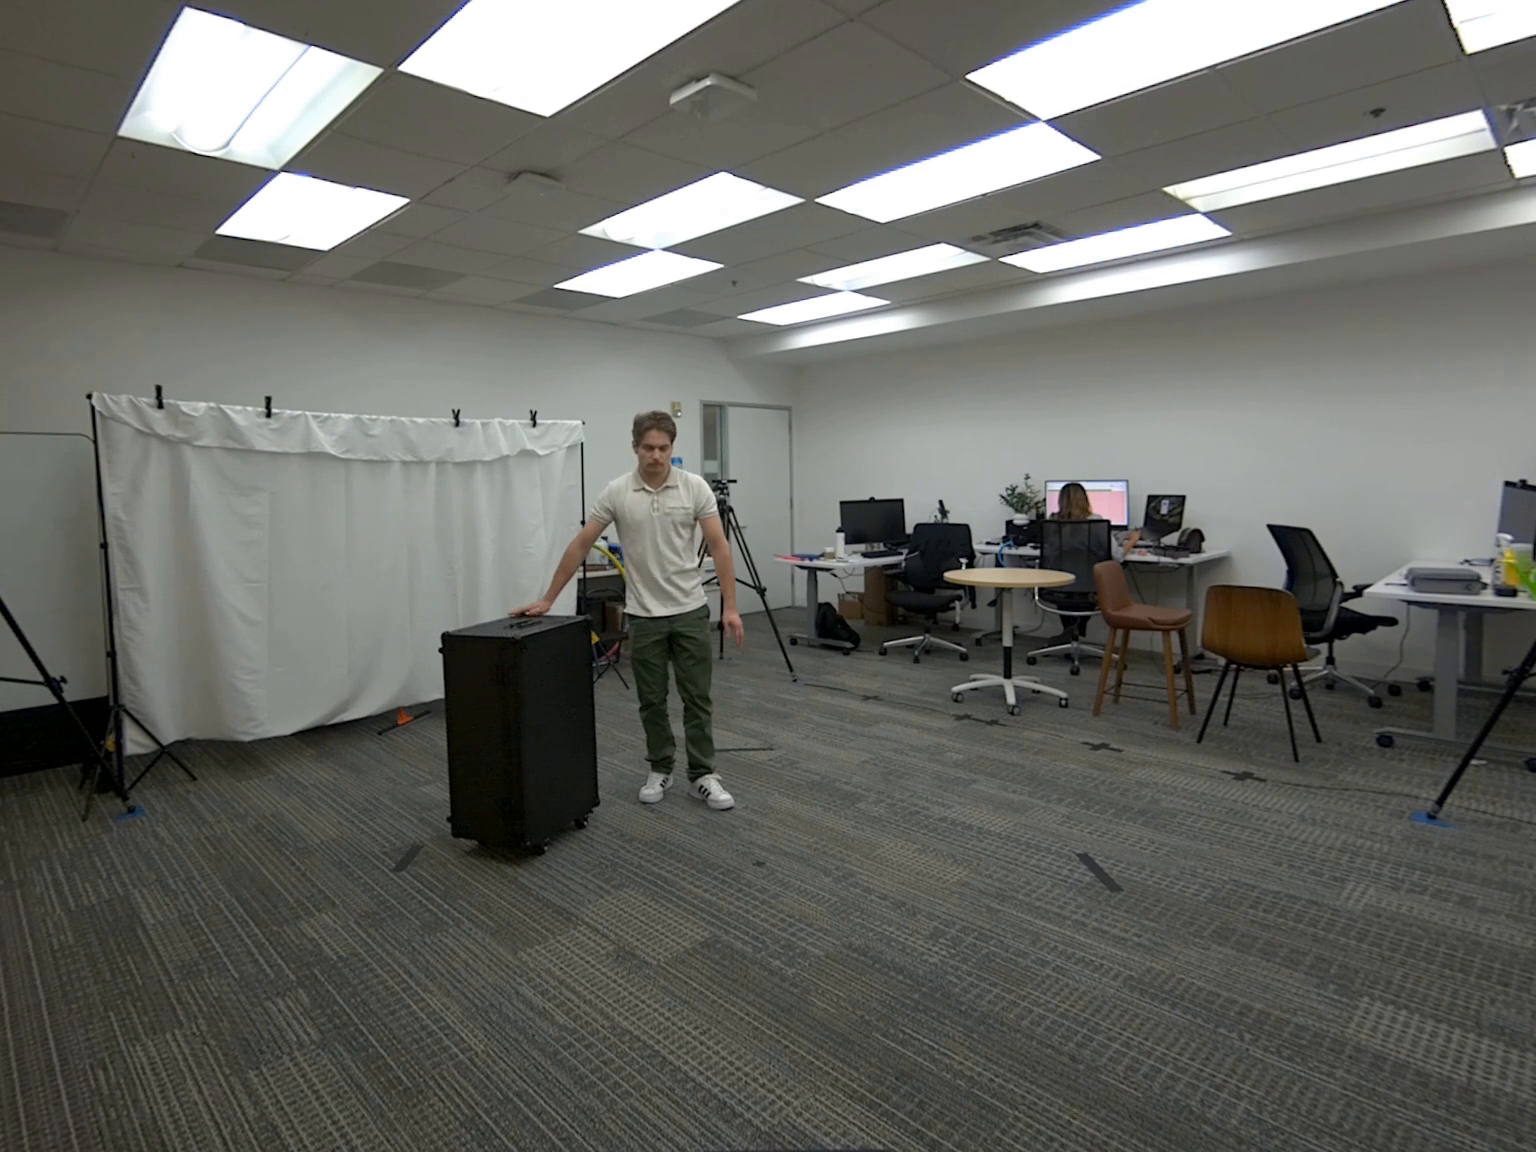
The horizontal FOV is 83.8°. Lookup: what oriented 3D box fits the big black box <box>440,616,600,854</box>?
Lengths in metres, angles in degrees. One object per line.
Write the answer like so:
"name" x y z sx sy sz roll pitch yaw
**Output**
"big black box" -0.964 0.613 3.359 0.394 0.866 0.514 0 4 23
